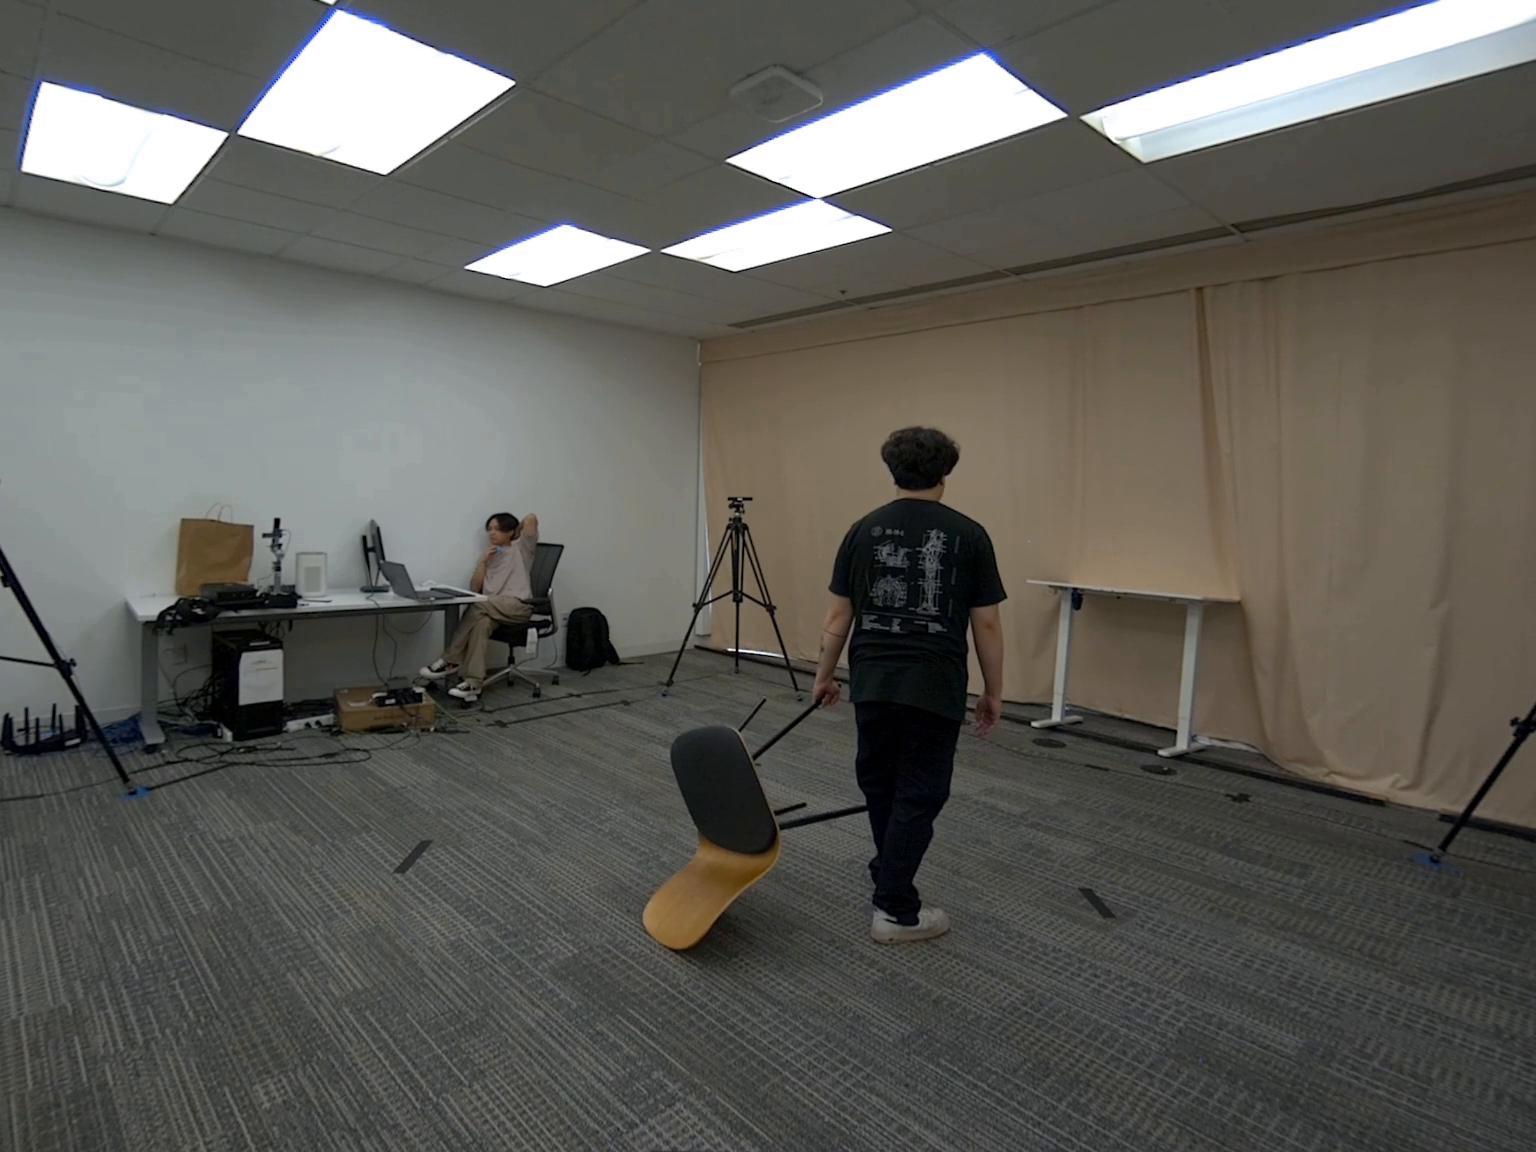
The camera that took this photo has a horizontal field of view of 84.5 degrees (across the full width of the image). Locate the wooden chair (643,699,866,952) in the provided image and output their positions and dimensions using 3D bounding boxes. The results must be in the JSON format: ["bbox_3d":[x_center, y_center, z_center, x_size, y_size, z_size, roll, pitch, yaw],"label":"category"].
[{"bbox_3d":[-0.108,0.753,2.842,0.867,0.523,0.484,-26,3,-39],"label":"wooden chair"}]
